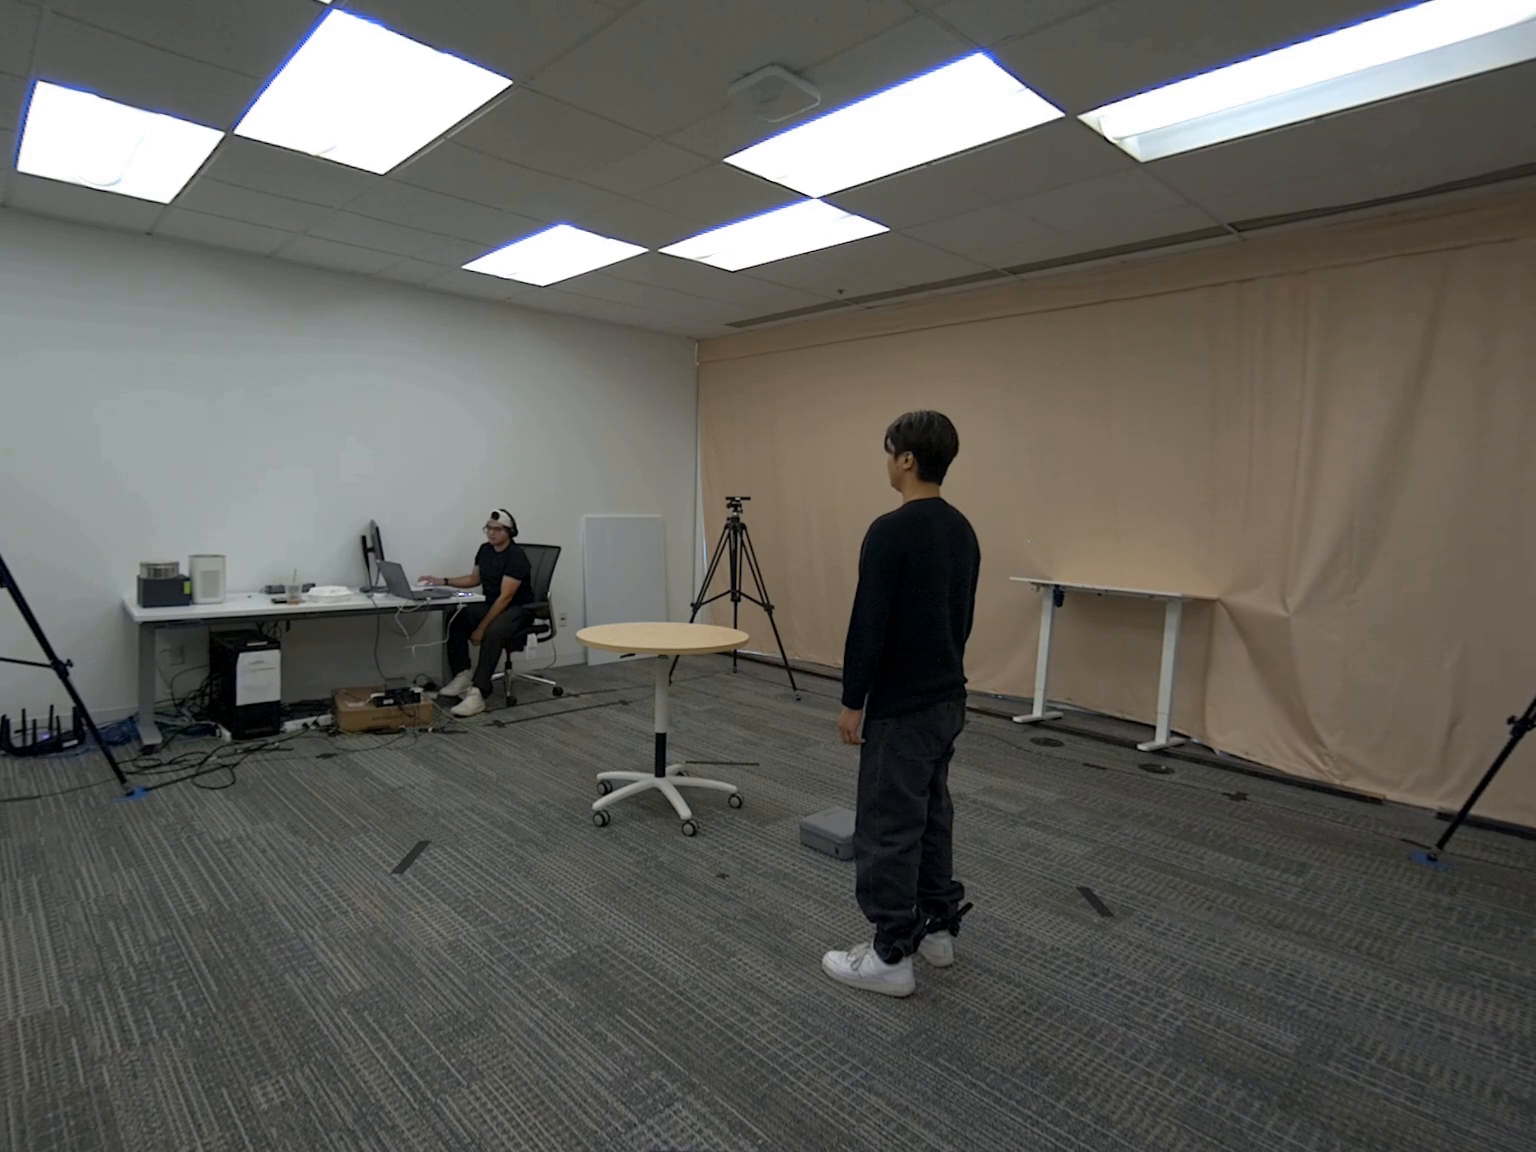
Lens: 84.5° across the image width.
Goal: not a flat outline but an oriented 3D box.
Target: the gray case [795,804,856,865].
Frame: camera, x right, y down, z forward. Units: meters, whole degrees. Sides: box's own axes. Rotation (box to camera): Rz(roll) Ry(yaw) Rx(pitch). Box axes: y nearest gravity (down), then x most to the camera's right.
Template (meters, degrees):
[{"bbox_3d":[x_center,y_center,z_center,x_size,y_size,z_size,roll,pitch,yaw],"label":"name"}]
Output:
[{"bbox_3d":[0.294,1.033,3.409,0.251,0.104,0.267,-1,5,-43],"label":"gray case"}]
